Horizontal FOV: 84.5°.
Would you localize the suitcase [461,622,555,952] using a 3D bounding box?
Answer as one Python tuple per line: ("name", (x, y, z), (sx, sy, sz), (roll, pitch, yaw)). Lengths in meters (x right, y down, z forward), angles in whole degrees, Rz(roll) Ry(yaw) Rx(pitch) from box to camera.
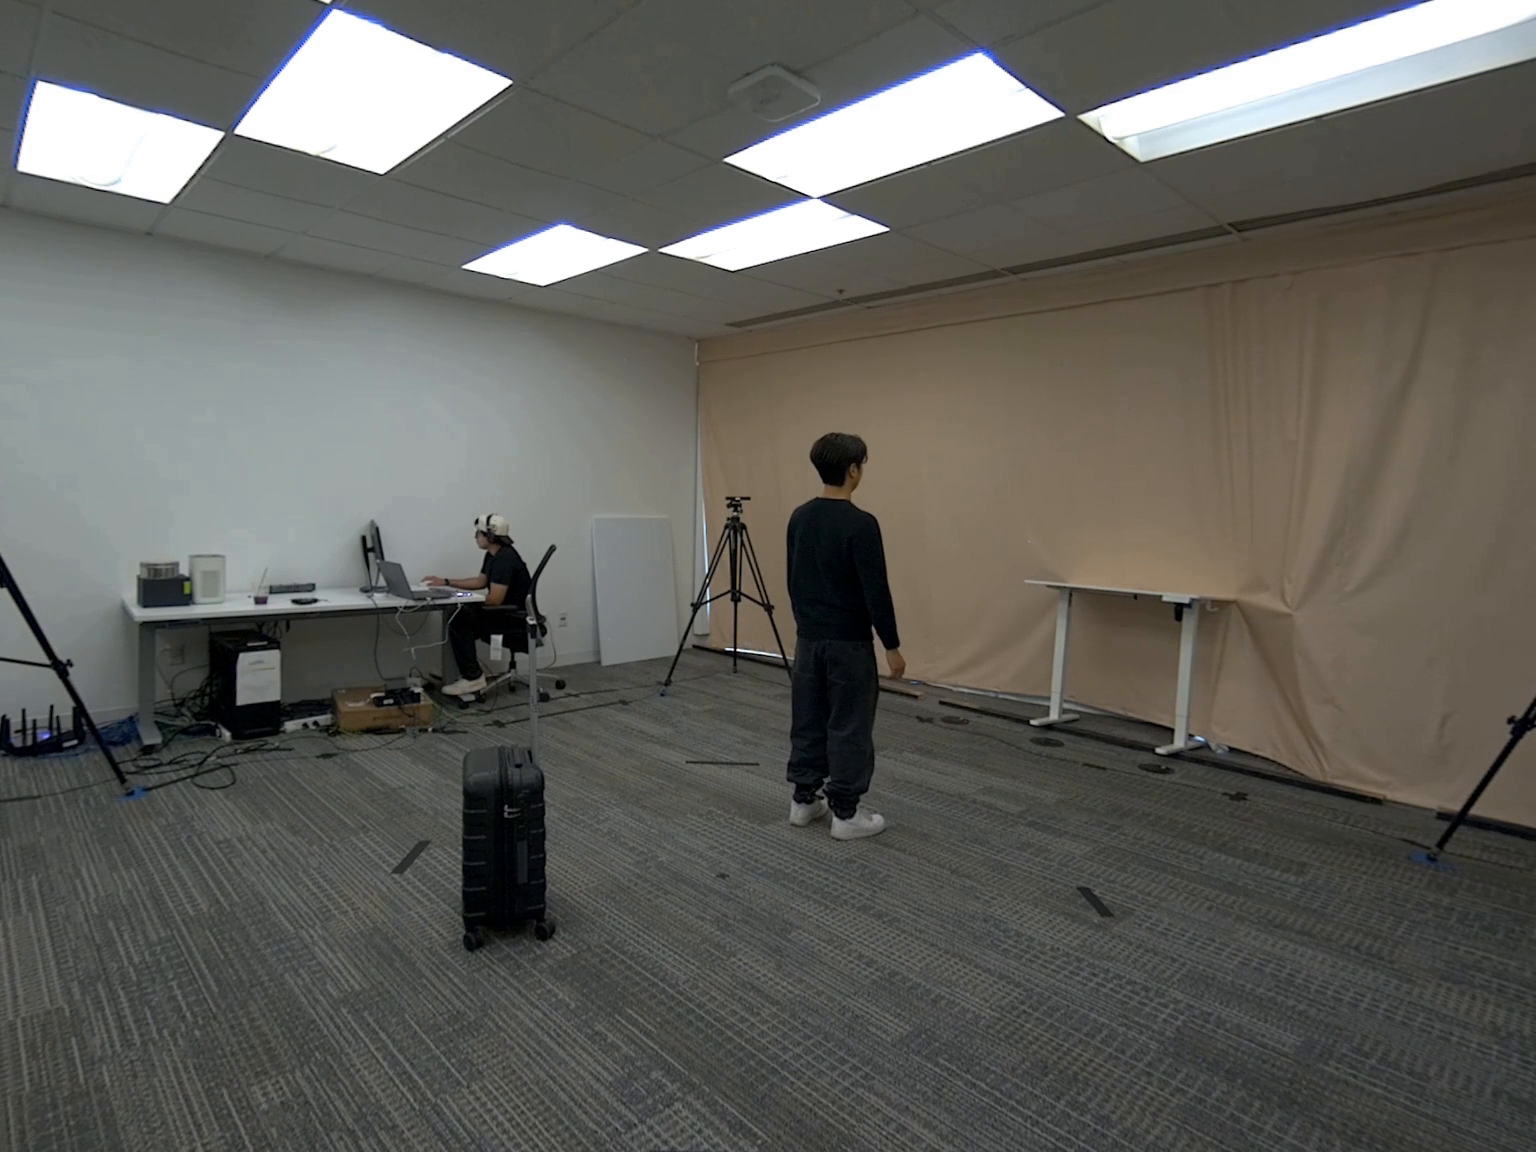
("suitcase", (-0.871, 0.651, 2.722), (0.254, 0.976, 0.389), (-3, 3, -16))
